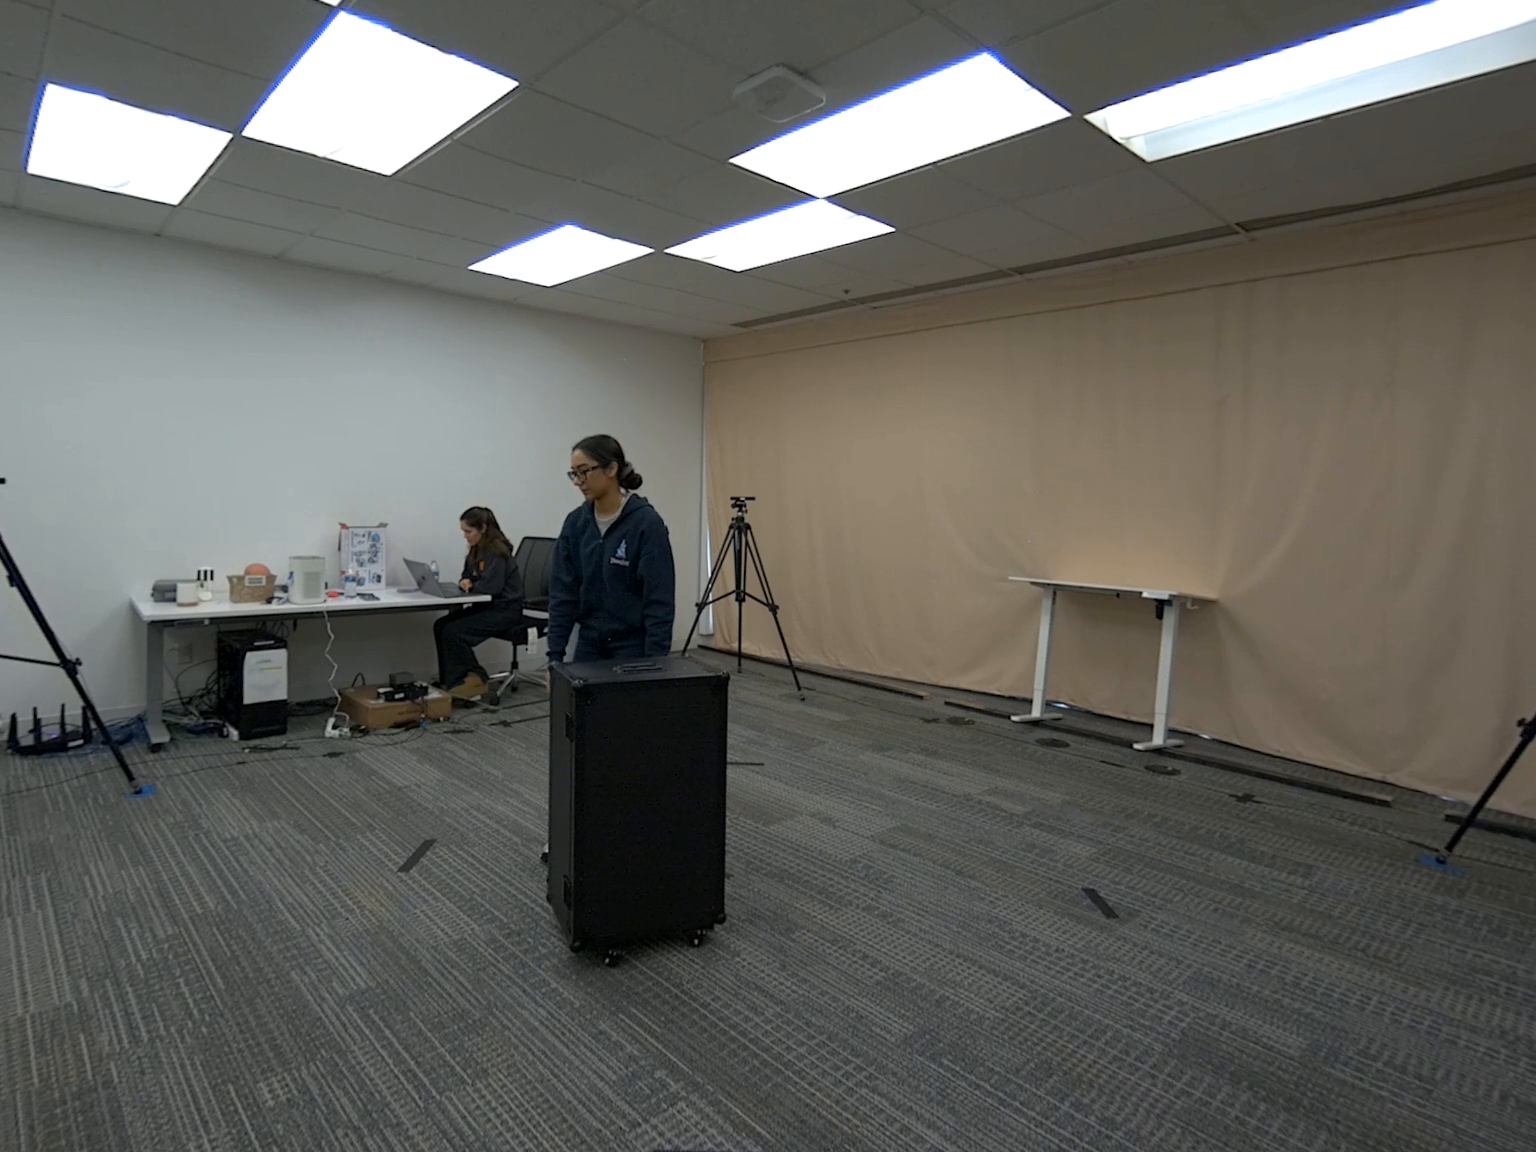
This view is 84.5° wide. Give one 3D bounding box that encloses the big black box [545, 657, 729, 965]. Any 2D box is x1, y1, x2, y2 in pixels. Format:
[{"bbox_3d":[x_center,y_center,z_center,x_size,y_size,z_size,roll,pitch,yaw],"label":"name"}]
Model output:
[{"bbox_3d":[-0.431,0.719,2.668,0.512,0.860,0.404,-1,2,-25],"label":"big black box"}]
